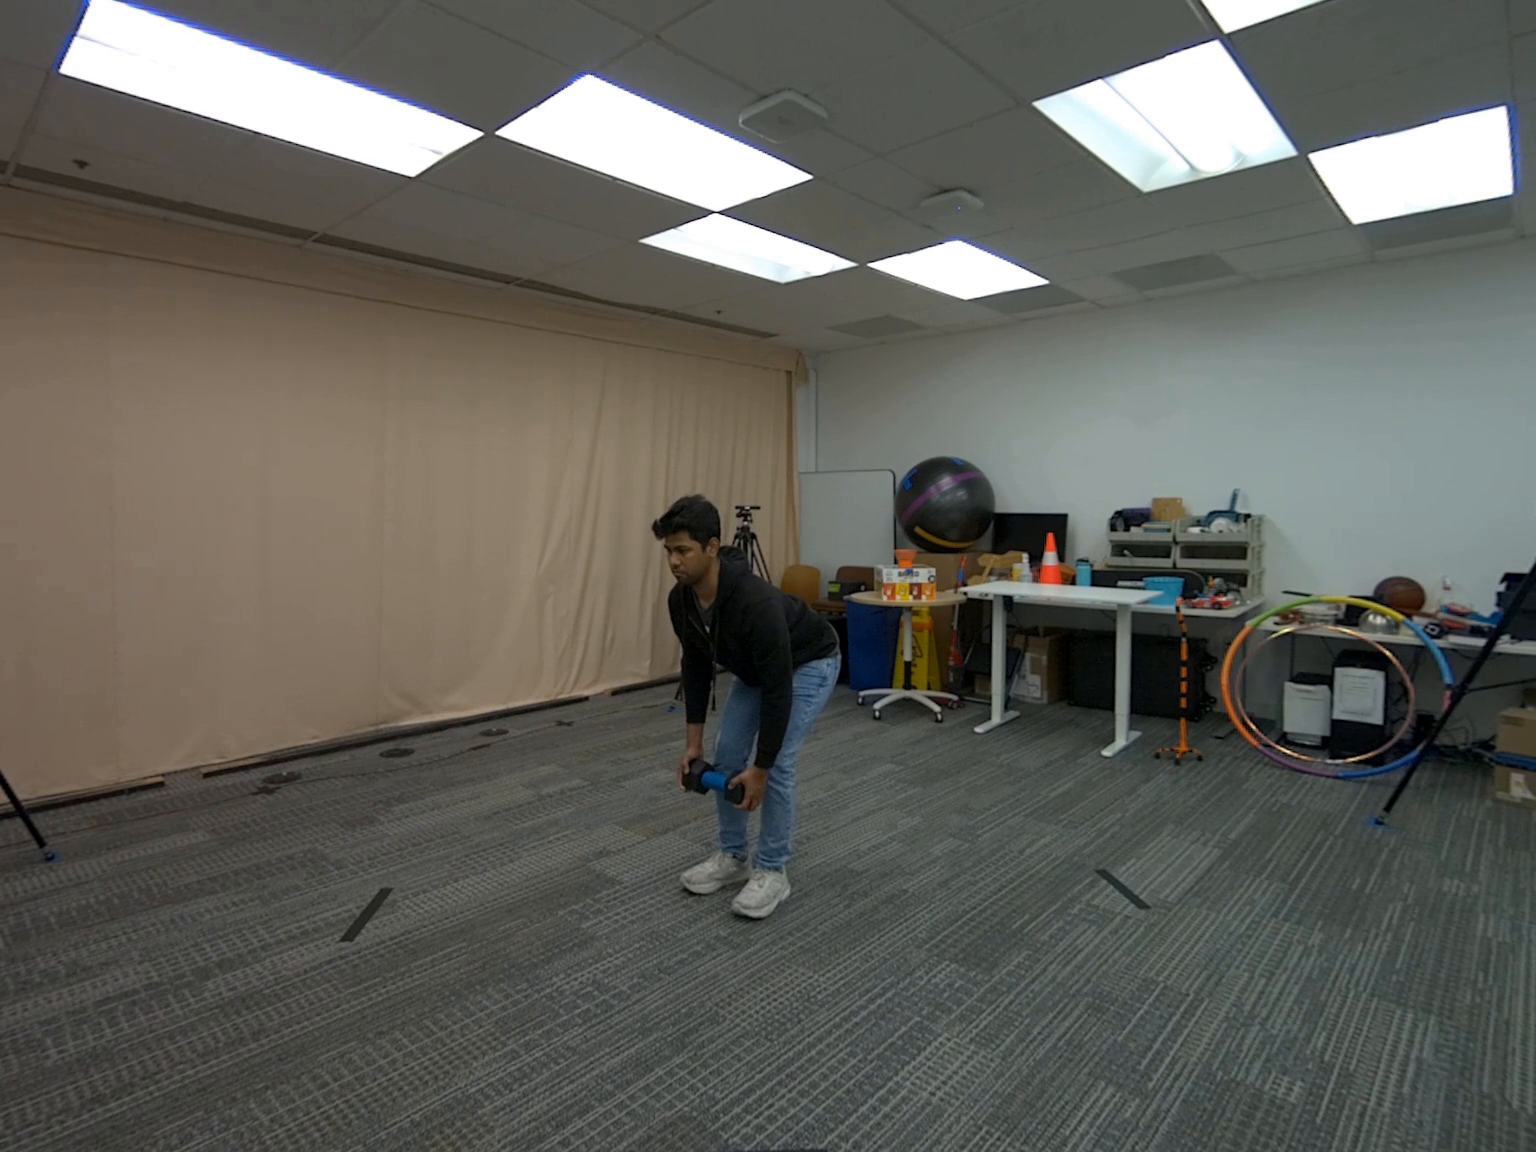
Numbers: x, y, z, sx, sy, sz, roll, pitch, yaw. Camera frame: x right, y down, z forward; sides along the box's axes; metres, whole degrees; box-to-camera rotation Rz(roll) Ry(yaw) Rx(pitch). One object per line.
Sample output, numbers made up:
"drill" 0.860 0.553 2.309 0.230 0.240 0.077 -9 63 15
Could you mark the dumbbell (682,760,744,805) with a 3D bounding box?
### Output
"dumbbell" -0.156 0.725 2.950 0.303 0.109 0.118 2 -25 45
